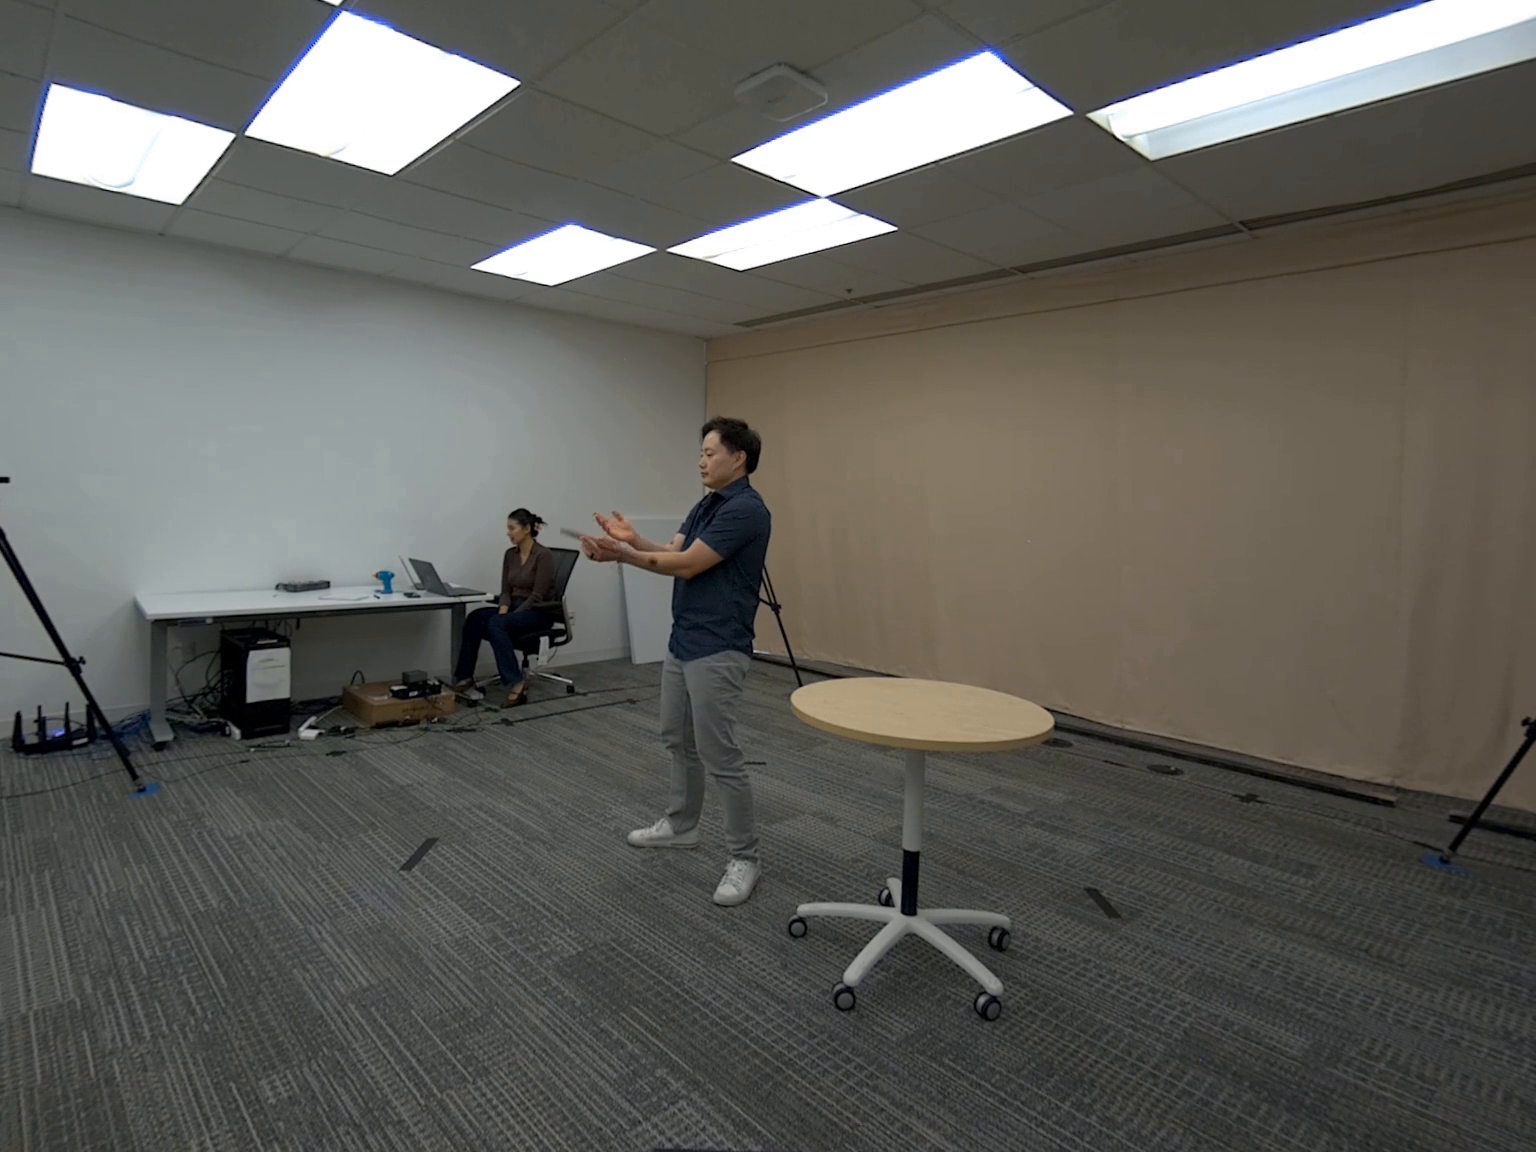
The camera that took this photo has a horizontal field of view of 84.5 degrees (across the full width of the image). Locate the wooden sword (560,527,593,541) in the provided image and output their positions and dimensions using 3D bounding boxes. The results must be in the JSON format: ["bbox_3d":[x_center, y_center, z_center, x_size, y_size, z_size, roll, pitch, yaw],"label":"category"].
[{"bbox_3d":[-0.601,-0.112,2.934,0.050,0.024,1.046,2,9,-21],"label":"wooden sword"}]
